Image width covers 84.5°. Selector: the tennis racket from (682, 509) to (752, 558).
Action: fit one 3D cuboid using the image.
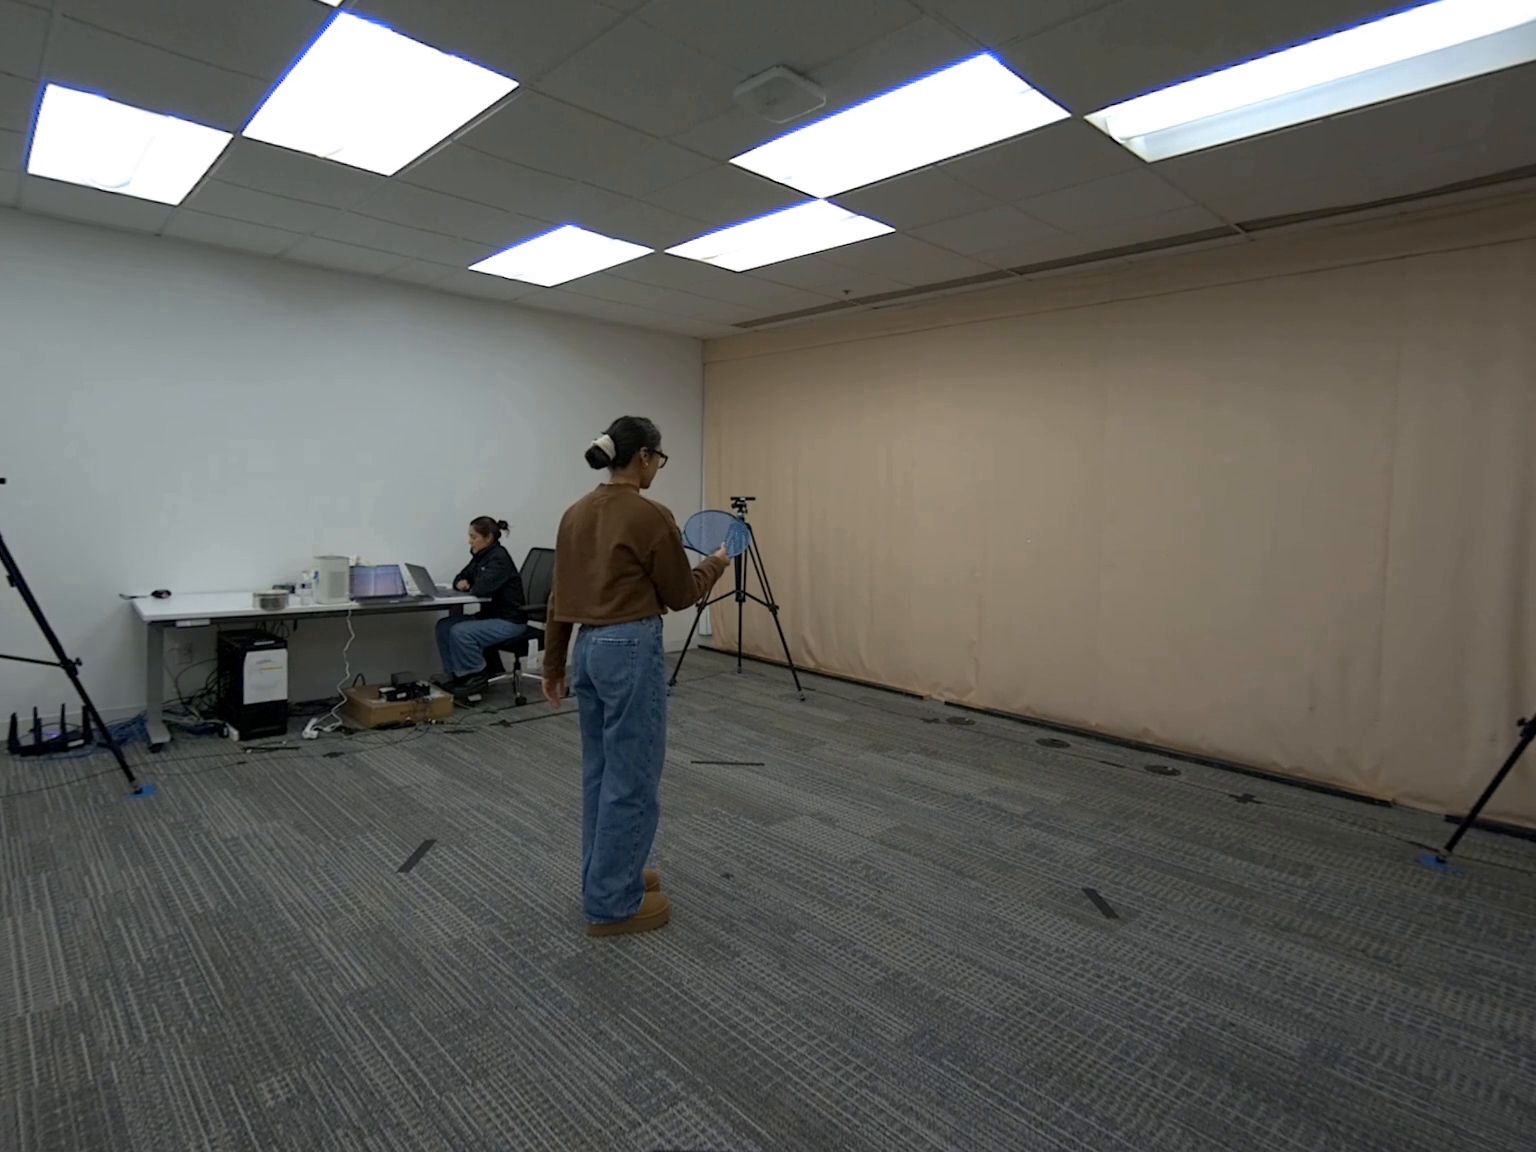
[{"bbox_3d":[-0.258,-0.141,2.963,0.426,0.219,0.031,-15,-29,-34],"label":"tennis racket"}]
